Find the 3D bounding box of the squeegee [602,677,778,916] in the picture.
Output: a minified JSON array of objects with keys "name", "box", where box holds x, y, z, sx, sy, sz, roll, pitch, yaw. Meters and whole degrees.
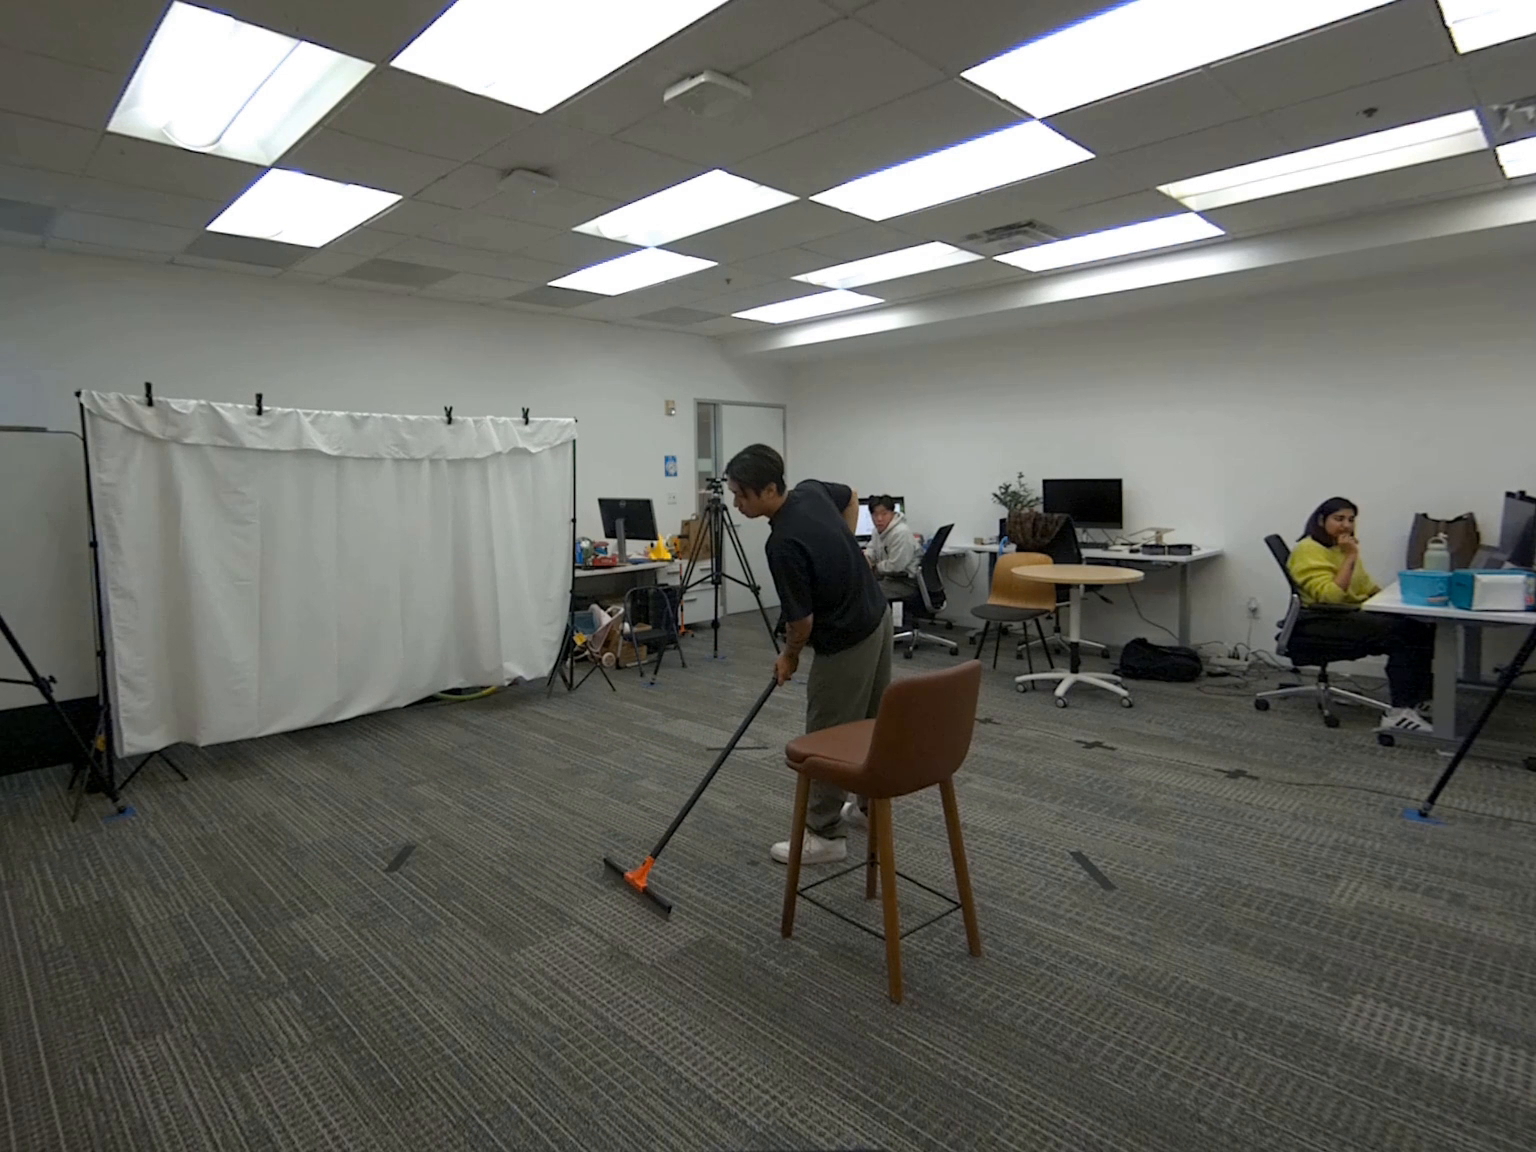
[{"name":"squeegee","box":[-0.046,0.472,3.162,0.451,0.051,1.541,6,52,51]}]
